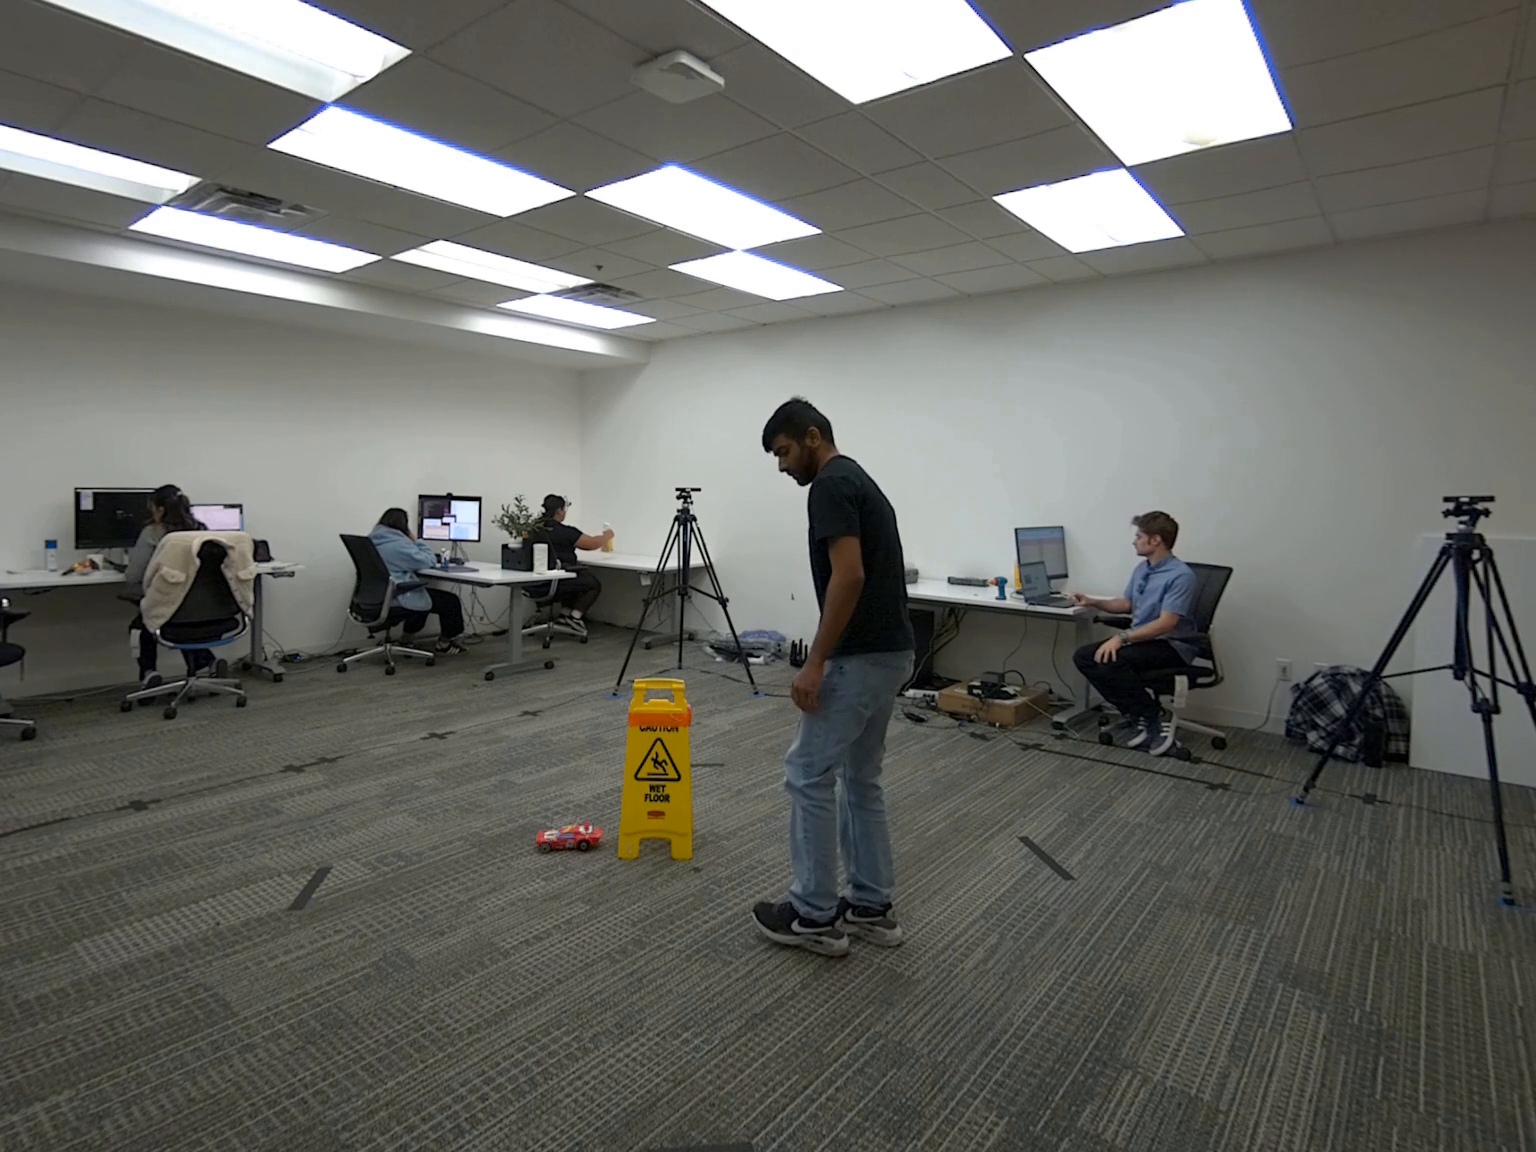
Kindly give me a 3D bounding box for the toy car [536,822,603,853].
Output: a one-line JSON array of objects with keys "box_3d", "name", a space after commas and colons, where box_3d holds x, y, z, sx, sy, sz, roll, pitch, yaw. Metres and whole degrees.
[{"box_3d": [-0.775, 1.013, 3.286, 0.253, 0.083, 0.132, -11, 7, -6], "name": "toy car"}]
